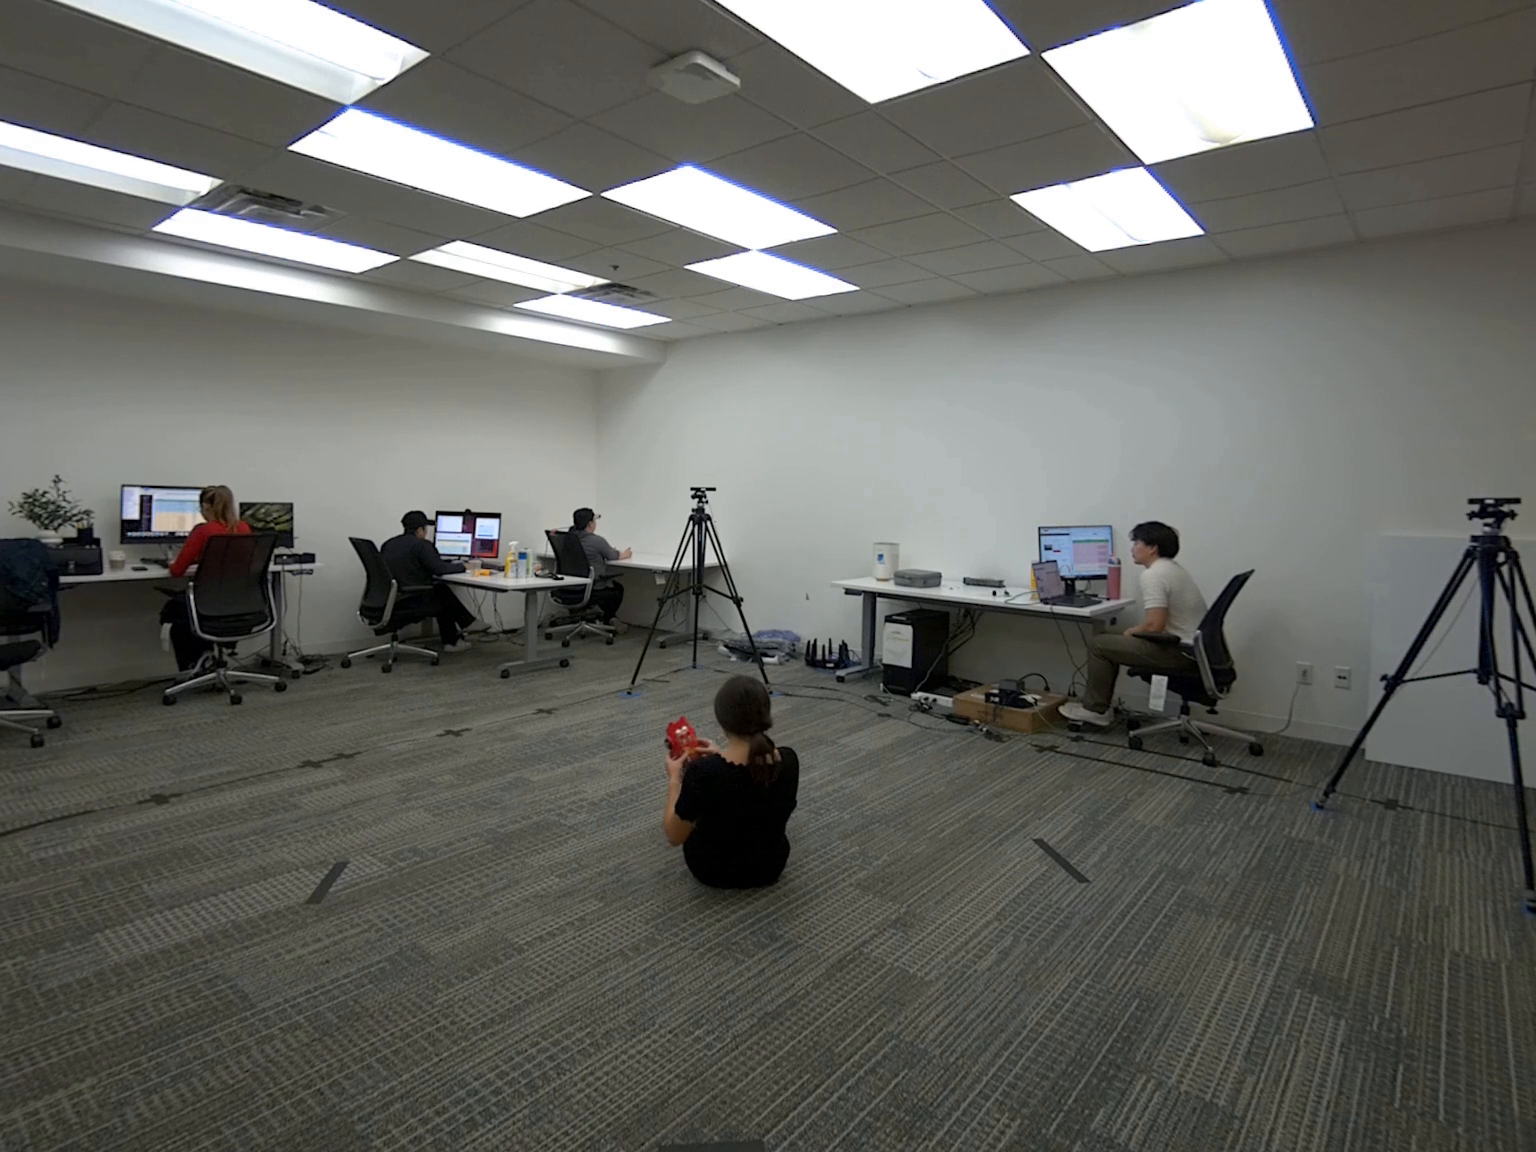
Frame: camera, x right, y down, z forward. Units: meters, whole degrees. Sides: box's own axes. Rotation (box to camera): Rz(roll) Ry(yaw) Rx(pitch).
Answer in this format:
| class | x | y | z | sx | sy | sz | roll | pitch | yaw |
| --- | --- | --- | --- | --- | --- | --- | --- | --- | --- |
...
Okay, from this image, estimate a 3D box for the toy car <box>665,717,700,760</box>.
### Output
| class | x | y | z | sx | sy | sz | roll | pitch | yaw |
| --- | --- | --- | --- | --- | --- | --- | --- | --- | --- |
| toy car | -0.302 | 0.669 | 3.193 | 0.128 | 0.252 | 0.085 | -23 | 10 | -34 |
